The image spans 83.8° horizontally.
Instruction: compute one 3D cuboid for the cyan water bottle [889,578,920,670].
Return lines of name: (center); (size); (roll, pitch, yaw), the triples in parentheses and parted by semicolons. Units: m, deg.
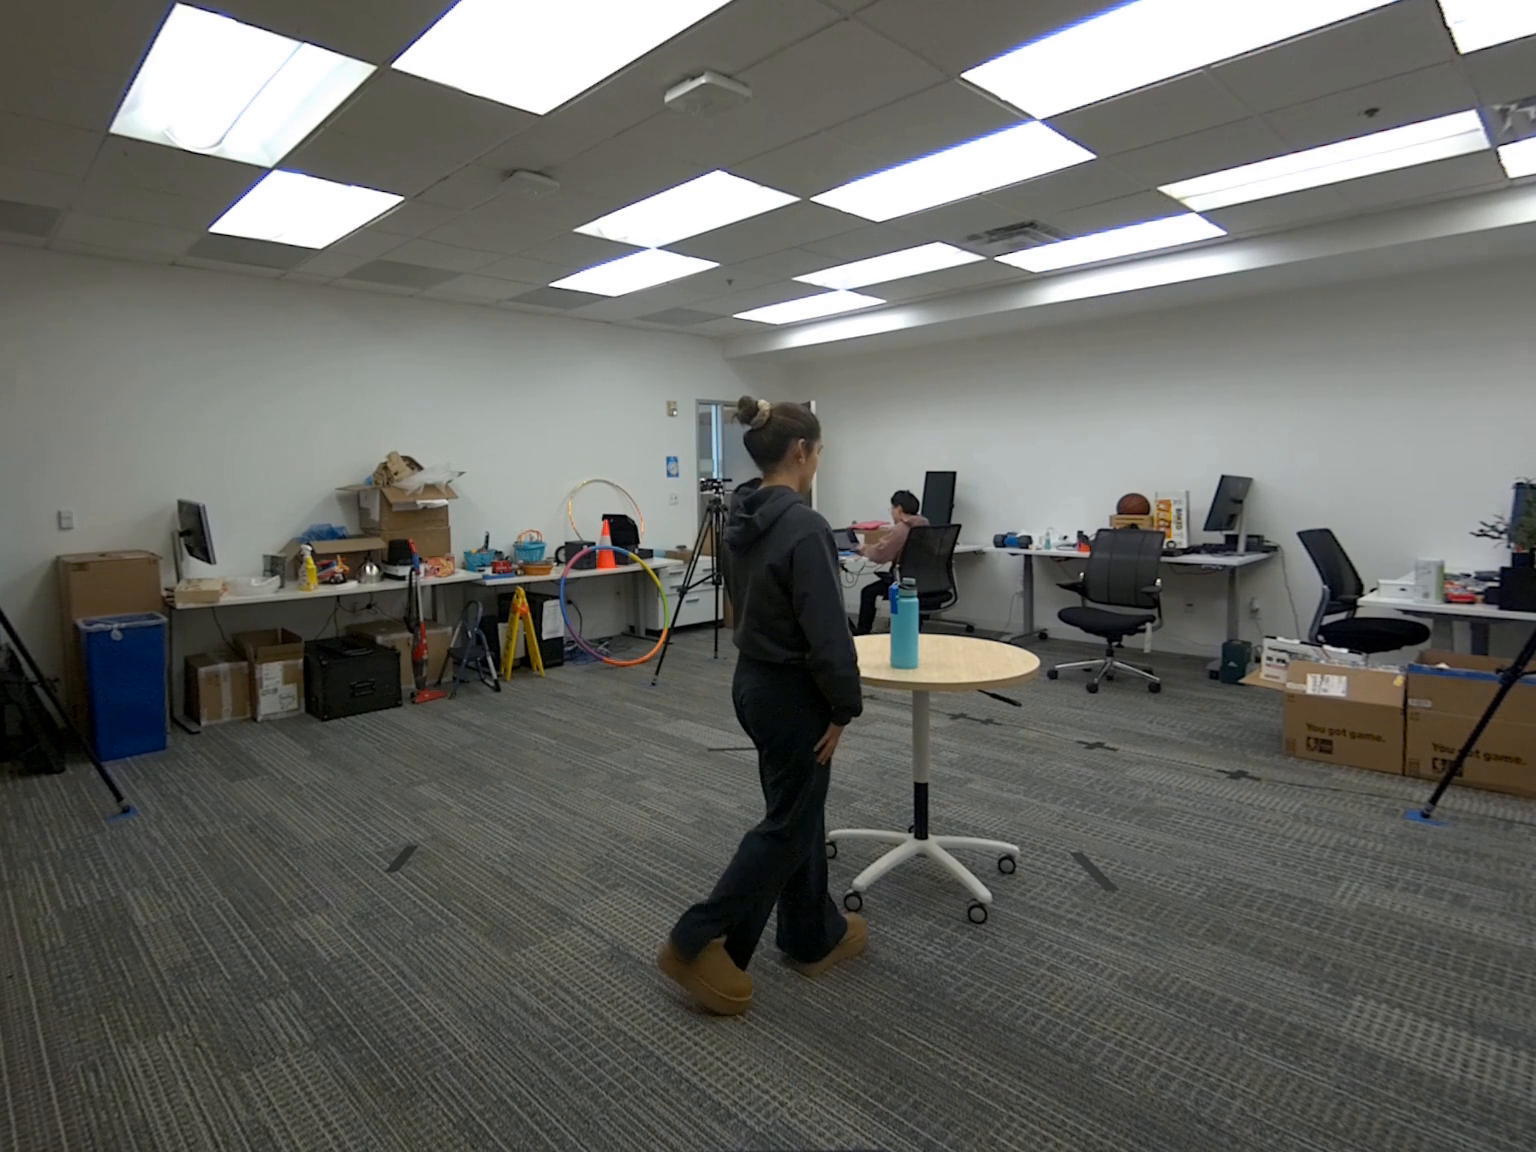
cyan water bottle: (0.439, 0.154, 2.748); (0.092, 0.282, 0.093); (-2, 4, -1)
